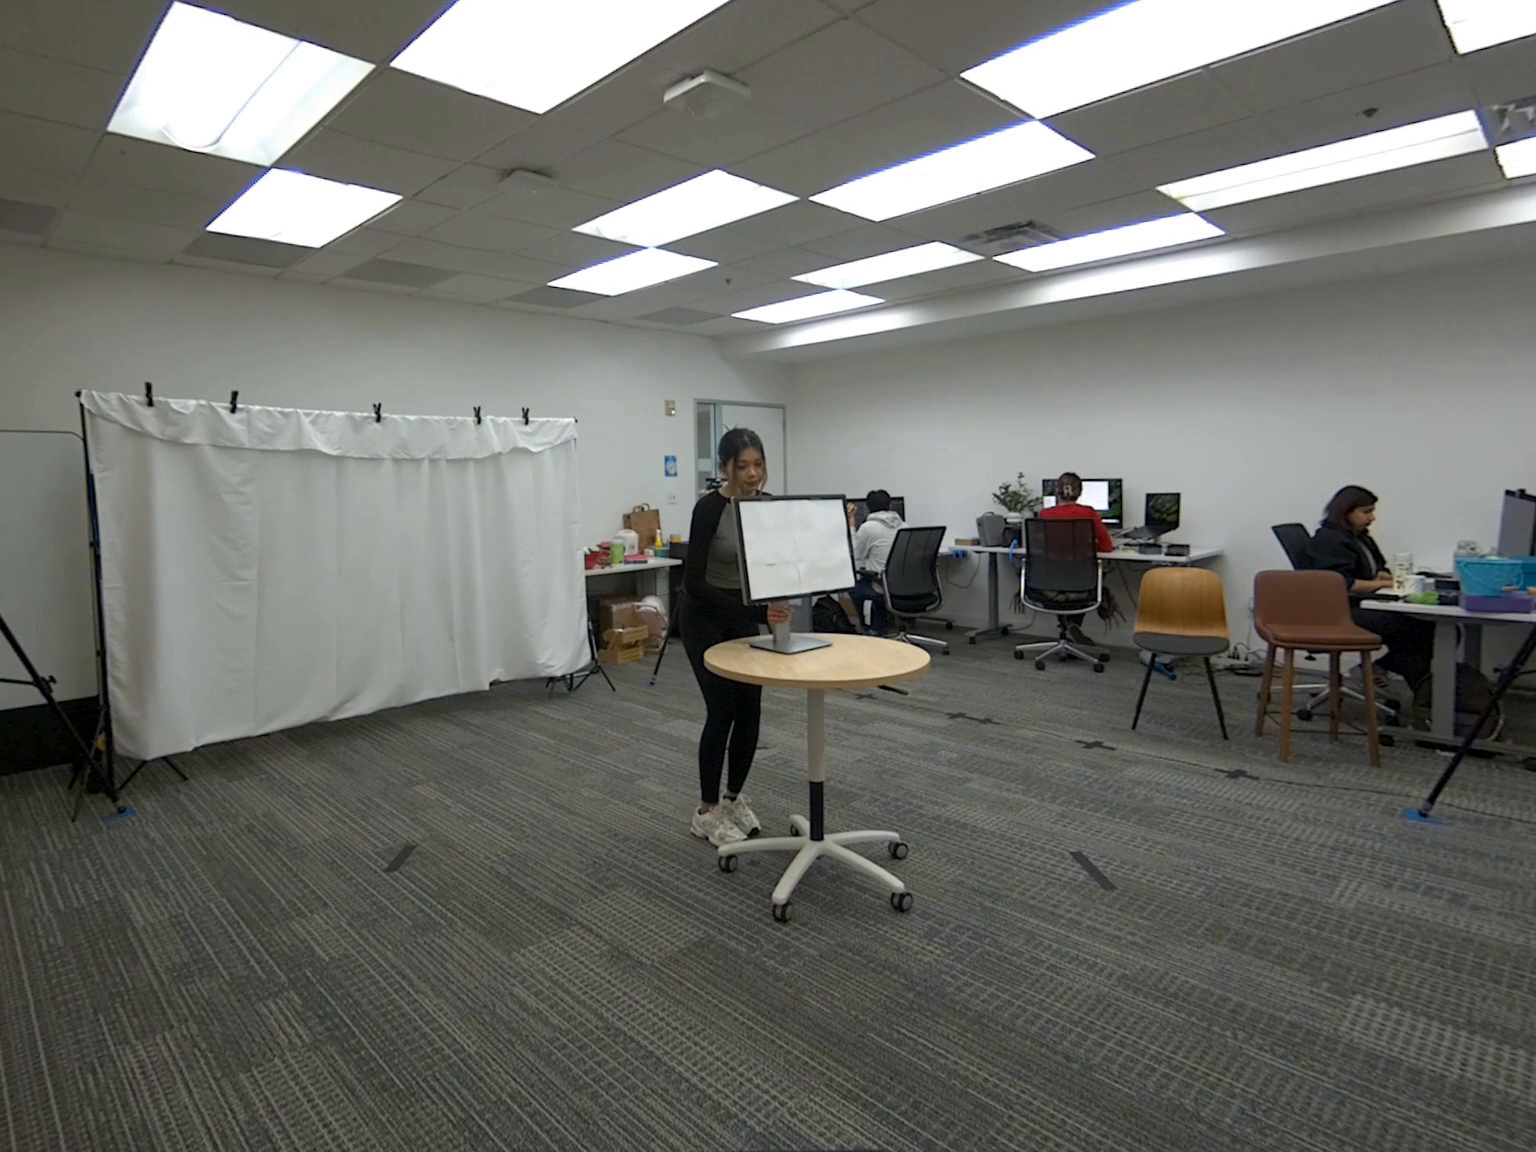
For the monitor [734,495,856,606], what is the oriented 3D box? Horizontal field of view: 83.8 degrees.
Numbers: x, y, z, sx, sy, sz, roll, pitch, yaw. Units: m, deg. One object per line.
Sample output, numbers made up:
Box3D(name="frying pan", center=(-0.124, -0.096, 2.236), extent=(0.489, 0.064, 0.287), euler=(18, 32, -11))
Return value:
Box3D(name="monitor", center=(0.079, -0.014, 3.053), extent=(0.525, 0.520, 0.193), euler=(-5, 7, -44))
